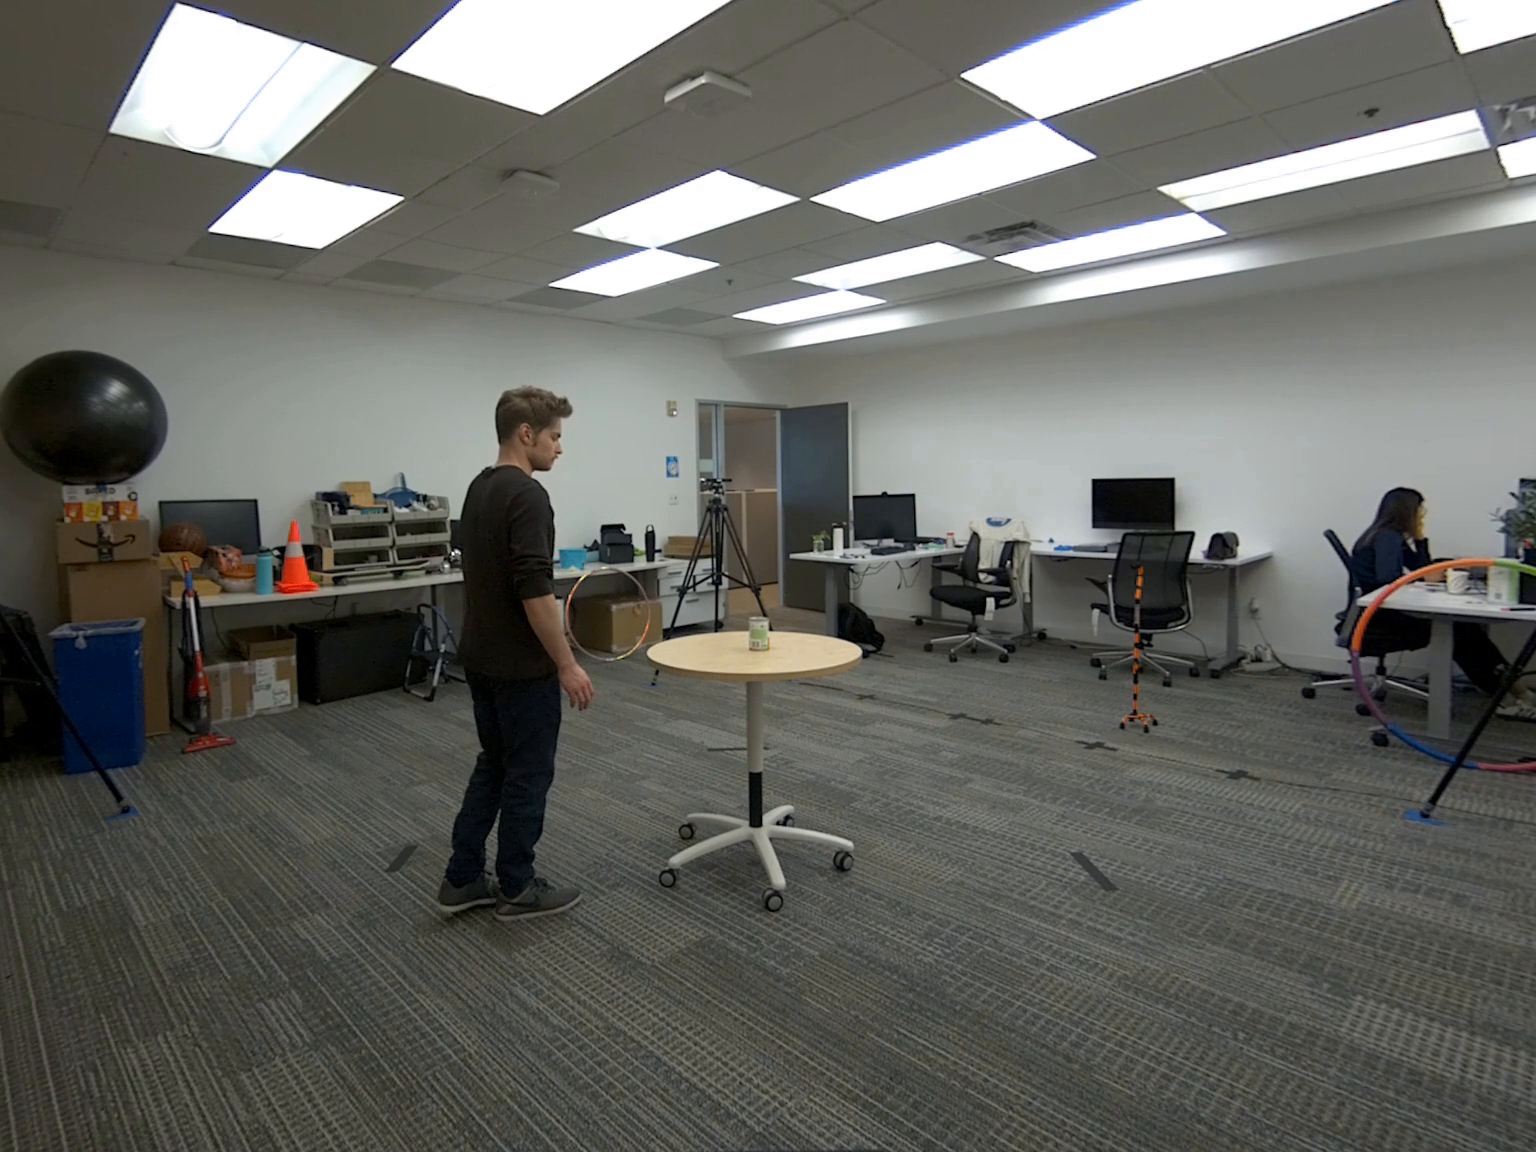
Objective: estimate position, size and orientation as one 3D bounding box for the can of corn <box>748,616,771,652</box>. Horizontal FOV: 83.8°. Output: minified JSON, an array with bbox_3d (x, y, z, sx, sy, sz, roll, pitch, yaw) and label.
[{"bbox_3d":[-0.029,0.208,3.061,0.074,0.110,0.075,-1,6,-2],"label":"can of corn"}]
